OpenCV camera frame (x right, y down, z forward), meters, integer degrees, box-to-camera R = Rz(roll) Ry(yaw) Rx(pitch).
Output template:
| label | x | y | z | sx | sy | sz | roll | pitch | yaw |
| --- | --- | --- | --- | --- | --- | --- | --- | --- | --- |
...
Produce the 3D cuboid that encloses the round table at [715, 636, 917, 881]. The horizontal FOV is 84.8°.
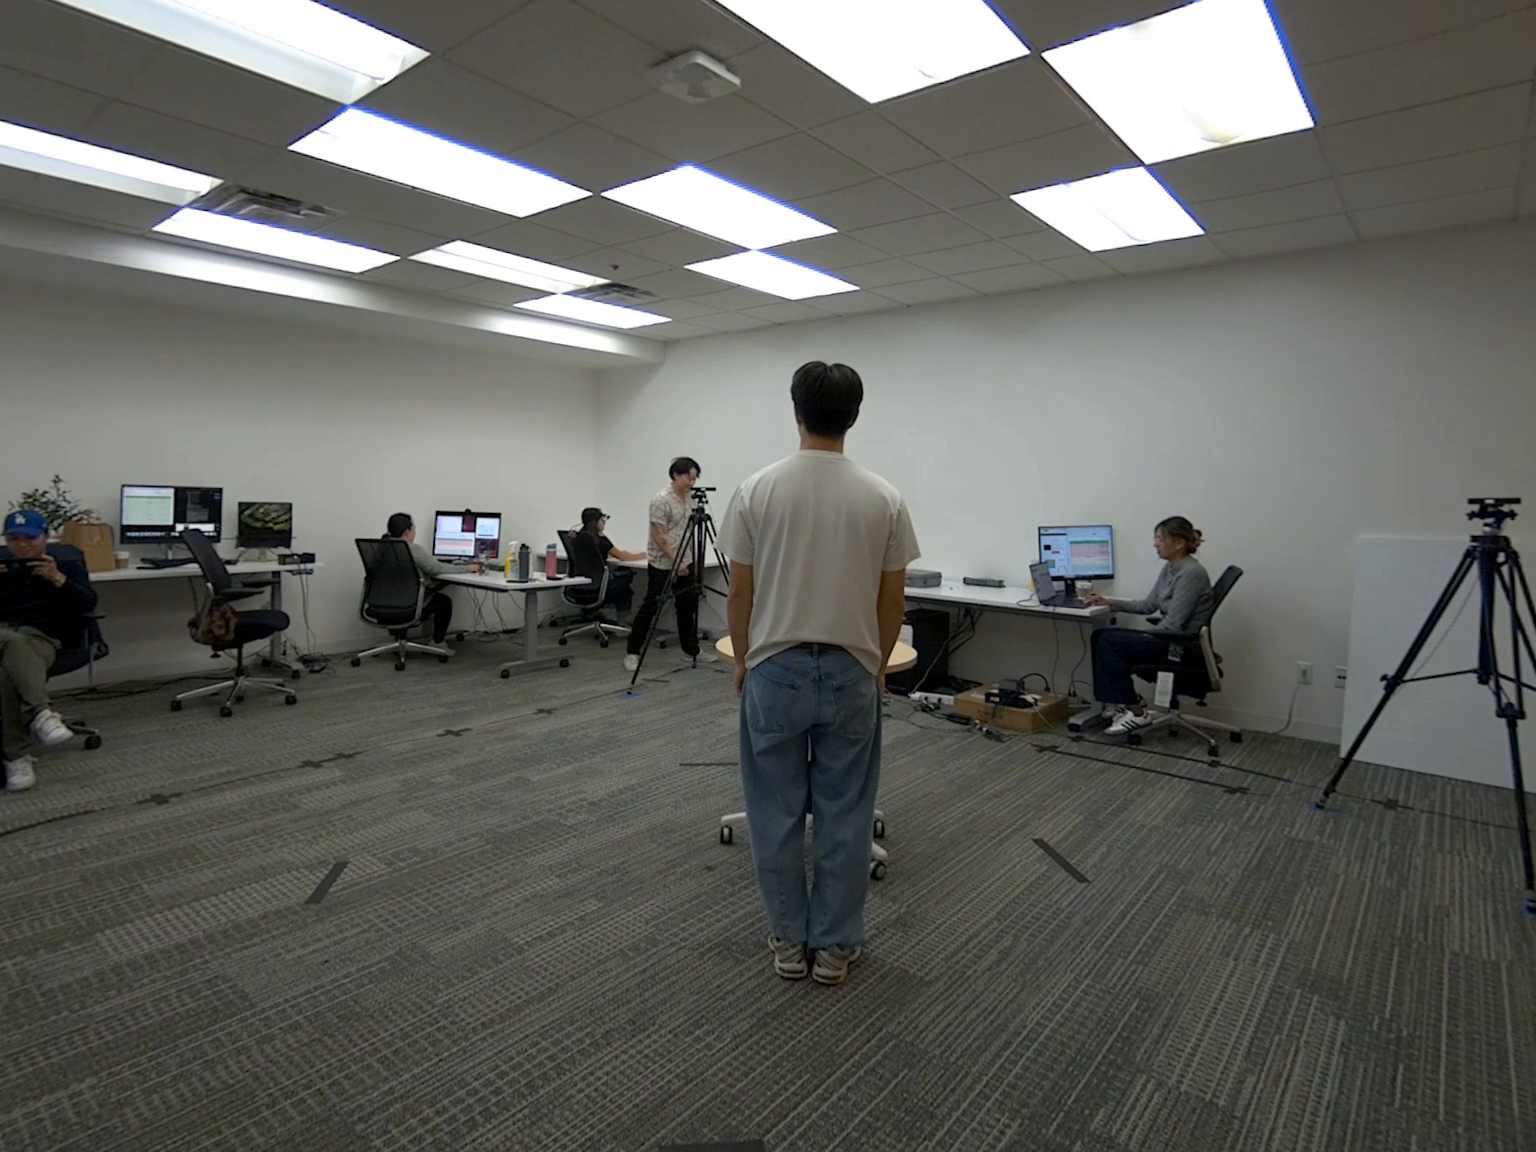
| label | x | y | z | sx | sy | sz | roll | pitch | yaw |
| --- | --- | --- | --- | --- | --- | --- | --- | --- | --- |
| round table | 0.146 | 0.656 | 3.297 | 0.784 | 0.784 | 0.789 | 1 | 5 | -2 |
